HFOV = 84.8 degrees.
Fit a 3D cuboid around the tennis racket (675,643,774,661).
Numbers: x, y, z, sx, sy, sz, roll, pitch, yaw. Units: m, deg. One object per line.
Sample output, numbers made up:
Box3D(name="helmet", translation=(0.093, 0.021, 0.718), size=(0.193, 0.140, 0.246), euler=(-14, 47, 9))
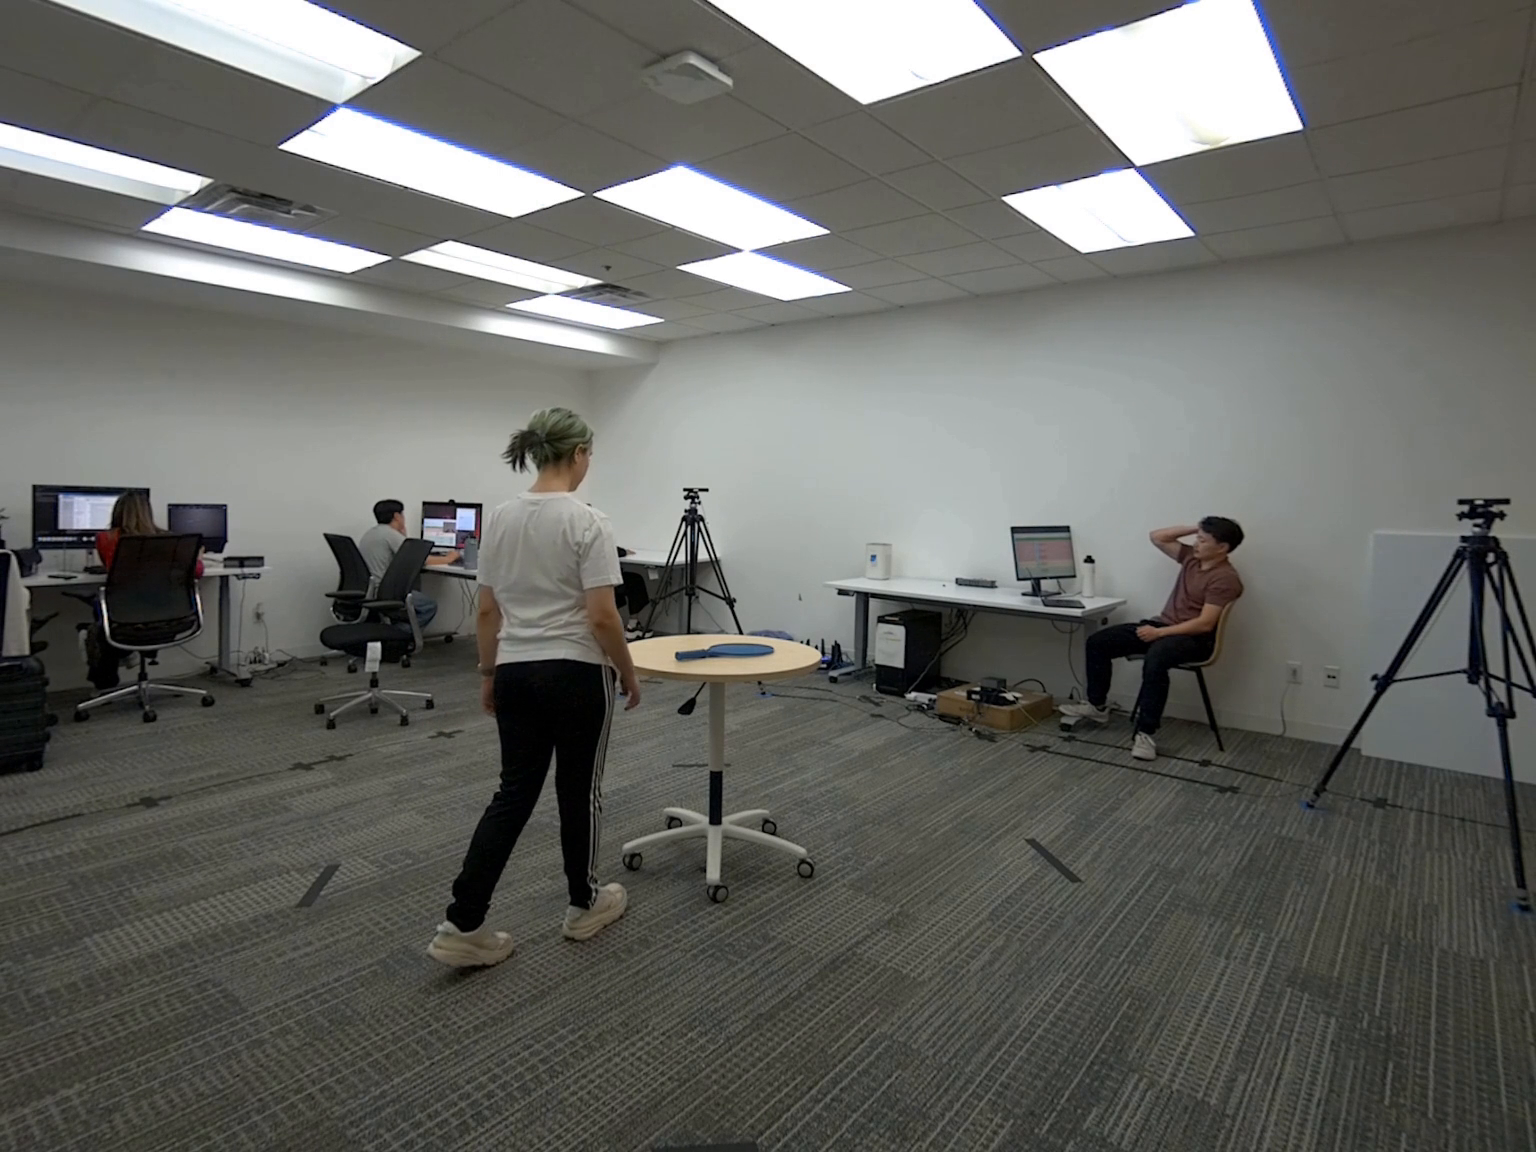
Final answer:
Box3D(name="tennis racket", translation=(-0.167, 0.278, 3.115), size=(0.420, 0.032, 0.221), euler=(-2, 5, -38))
